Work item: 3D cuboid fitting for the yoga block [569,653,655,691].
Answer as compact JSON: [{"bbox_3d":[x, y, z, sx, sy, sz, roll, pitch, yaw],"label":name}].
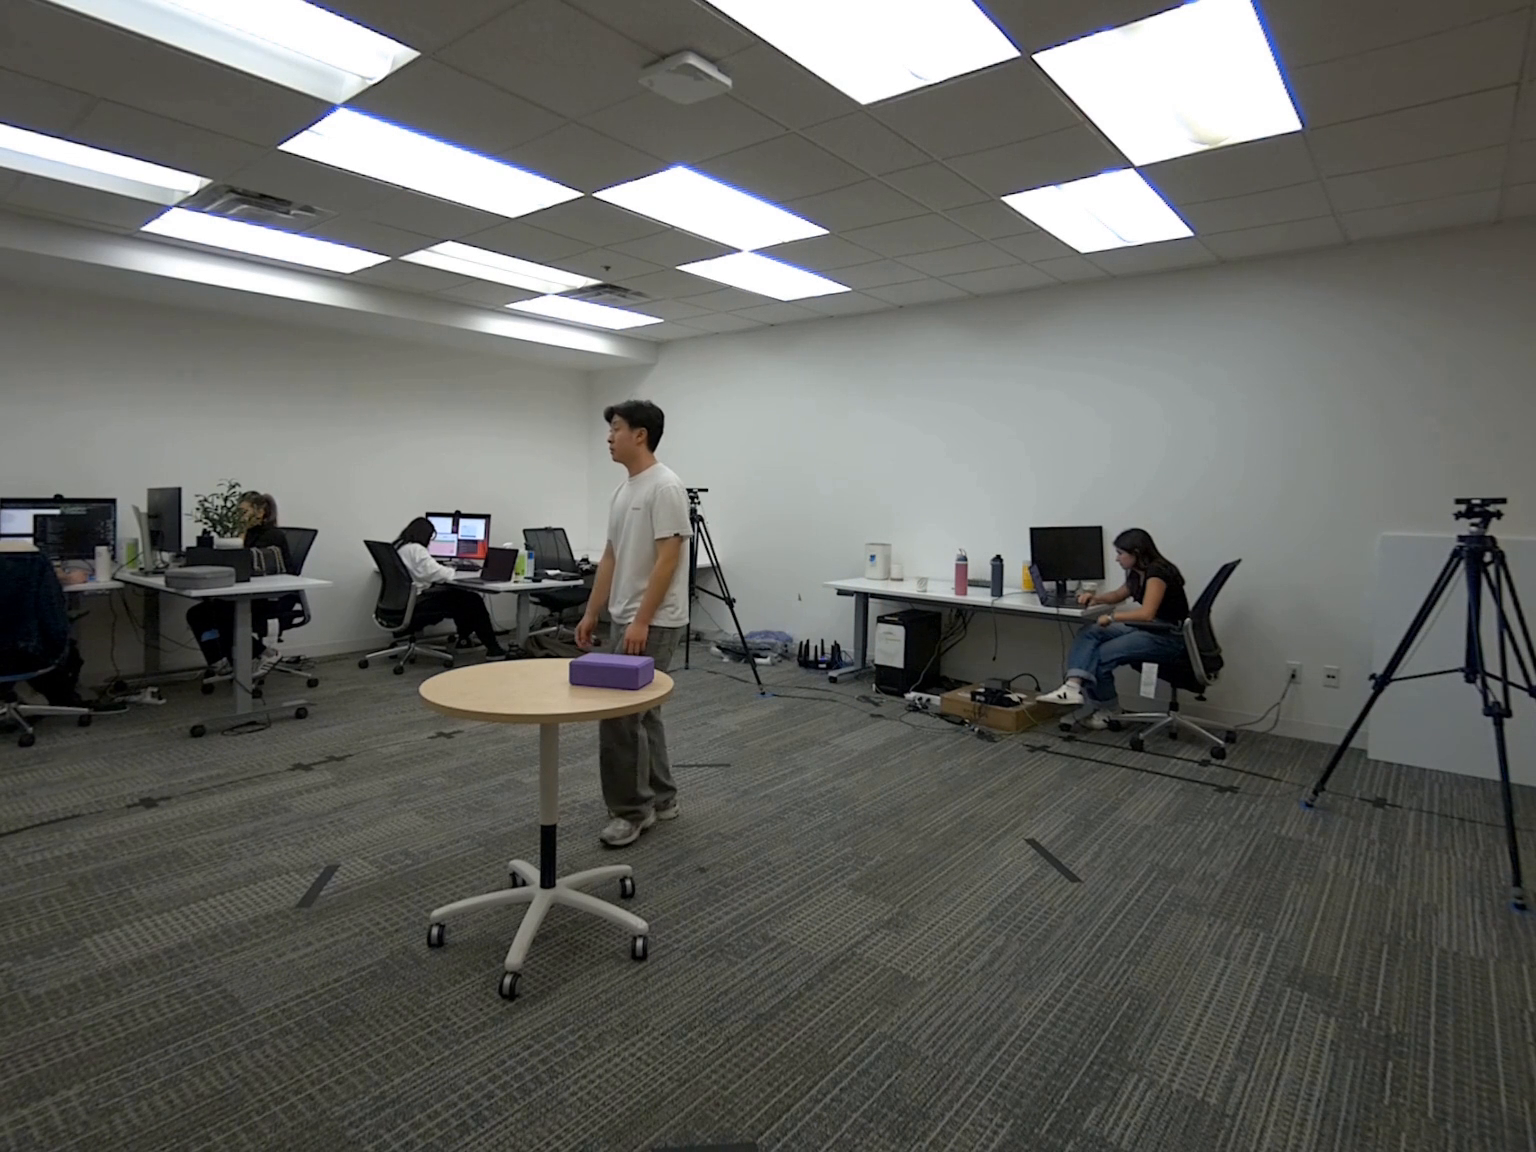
[{"bbox_3d":[-0.494,0.287,2.638,0.233,0.076,0.147,2,5,15],"label":"yoga block"}]
